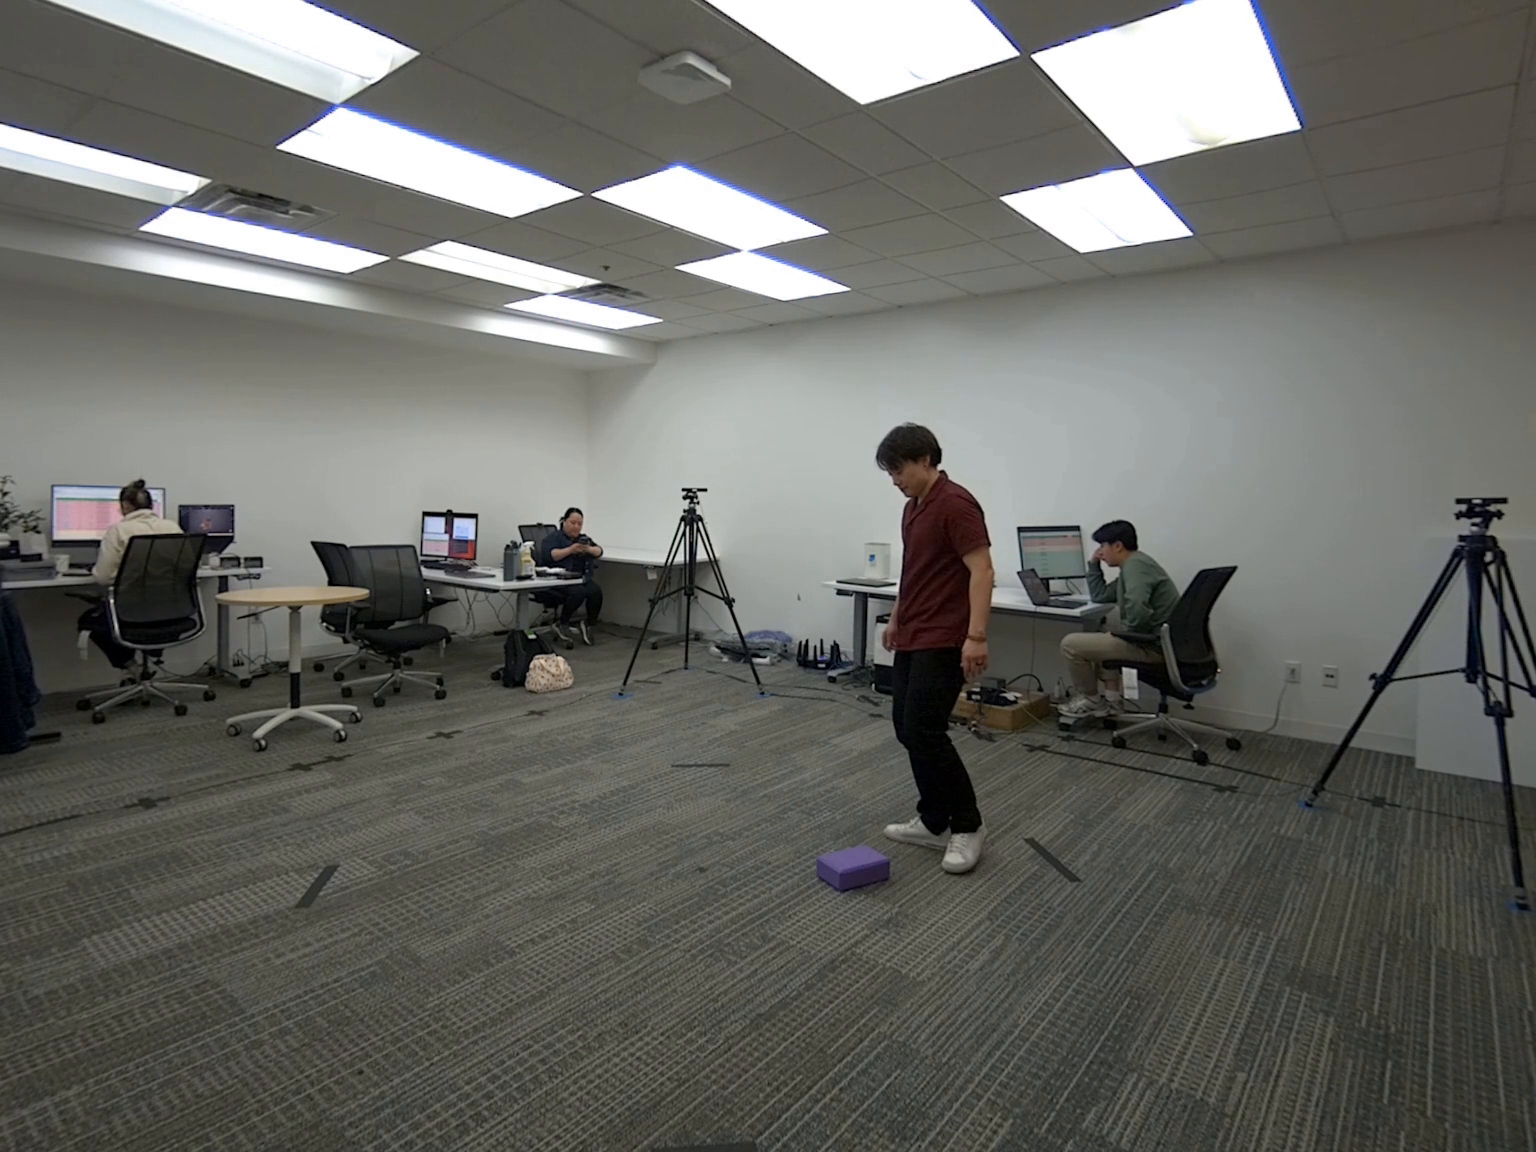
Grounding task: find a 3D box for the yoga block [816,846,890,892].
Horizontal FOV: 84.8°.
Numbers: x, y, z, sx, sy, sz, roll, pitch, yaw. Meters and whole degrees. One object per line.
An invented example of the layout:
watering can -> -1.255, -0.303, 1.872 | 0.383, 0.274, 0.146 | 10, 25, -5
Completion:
yoga block -> 0.303, 1.041, 3.064 | 0.223, 0.076, 0.154 | -3, 7, -32
